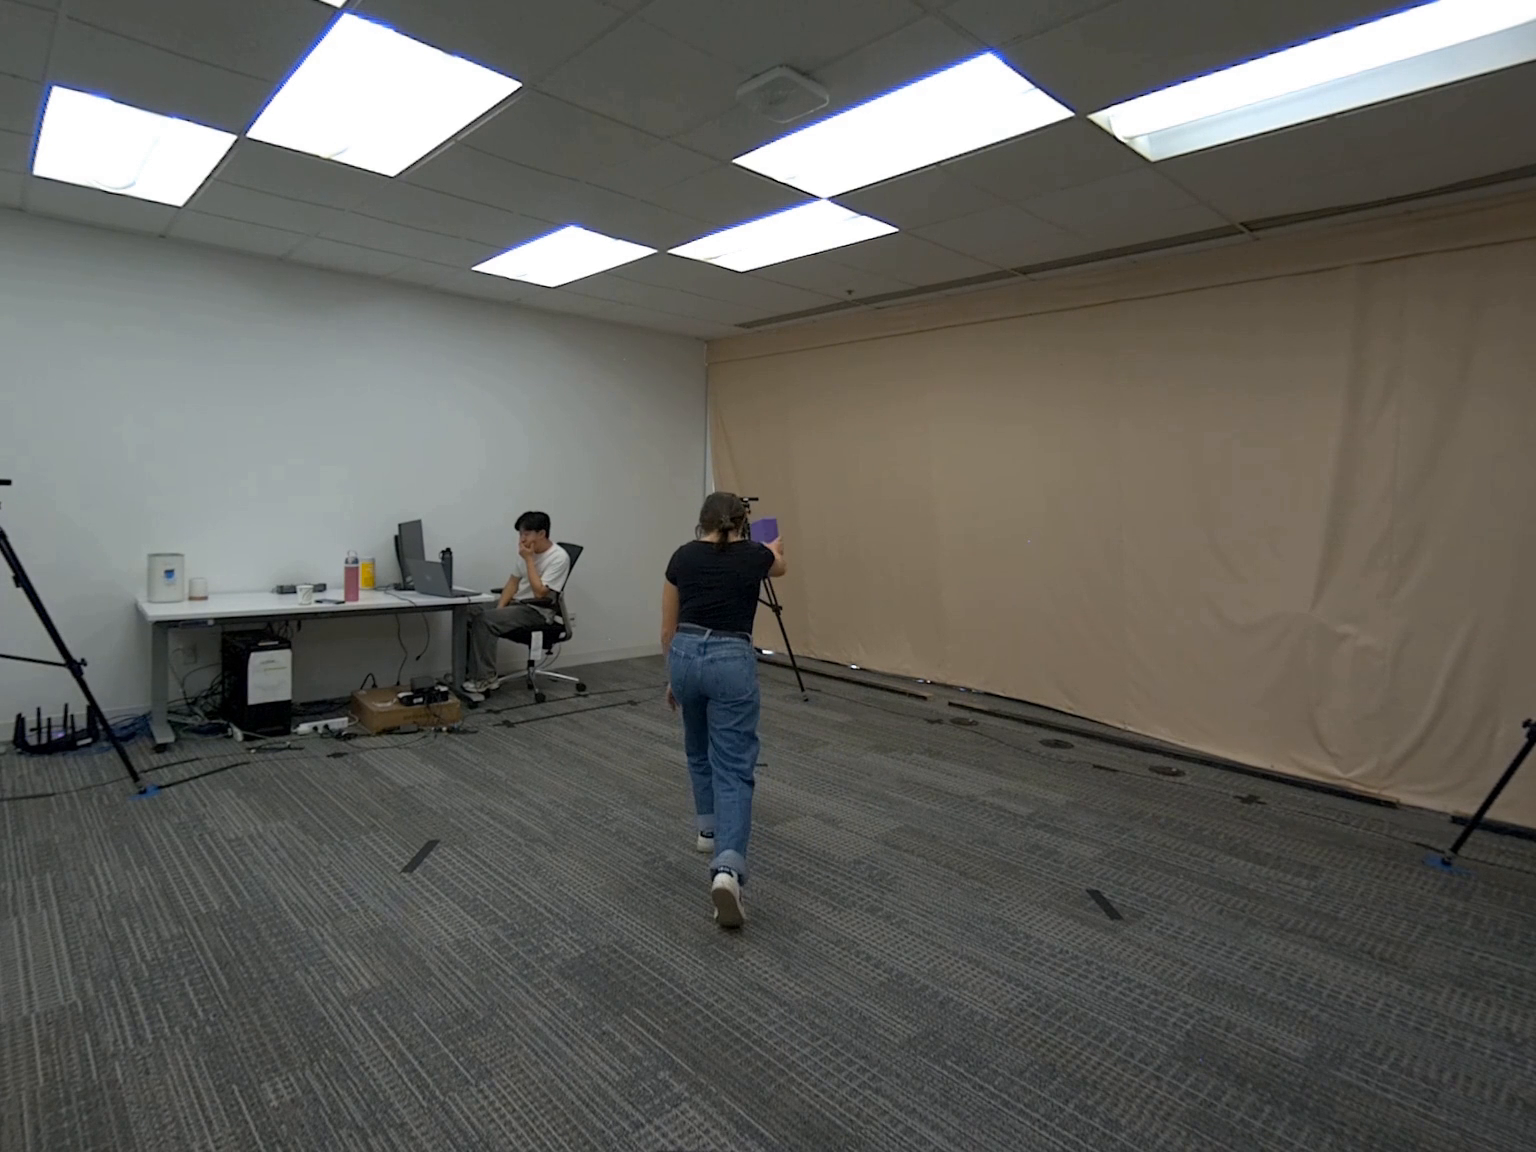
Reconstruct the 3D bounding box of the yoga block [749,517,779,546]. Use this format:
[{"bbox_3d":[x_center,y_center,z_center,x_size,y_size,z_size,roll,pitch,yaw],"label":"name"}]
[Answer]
[{"bbox_3d":[-0.023,-0.134,3.896,0.075,0.230,0.150,-5,-5,-23],"label":"yoga block"}]
